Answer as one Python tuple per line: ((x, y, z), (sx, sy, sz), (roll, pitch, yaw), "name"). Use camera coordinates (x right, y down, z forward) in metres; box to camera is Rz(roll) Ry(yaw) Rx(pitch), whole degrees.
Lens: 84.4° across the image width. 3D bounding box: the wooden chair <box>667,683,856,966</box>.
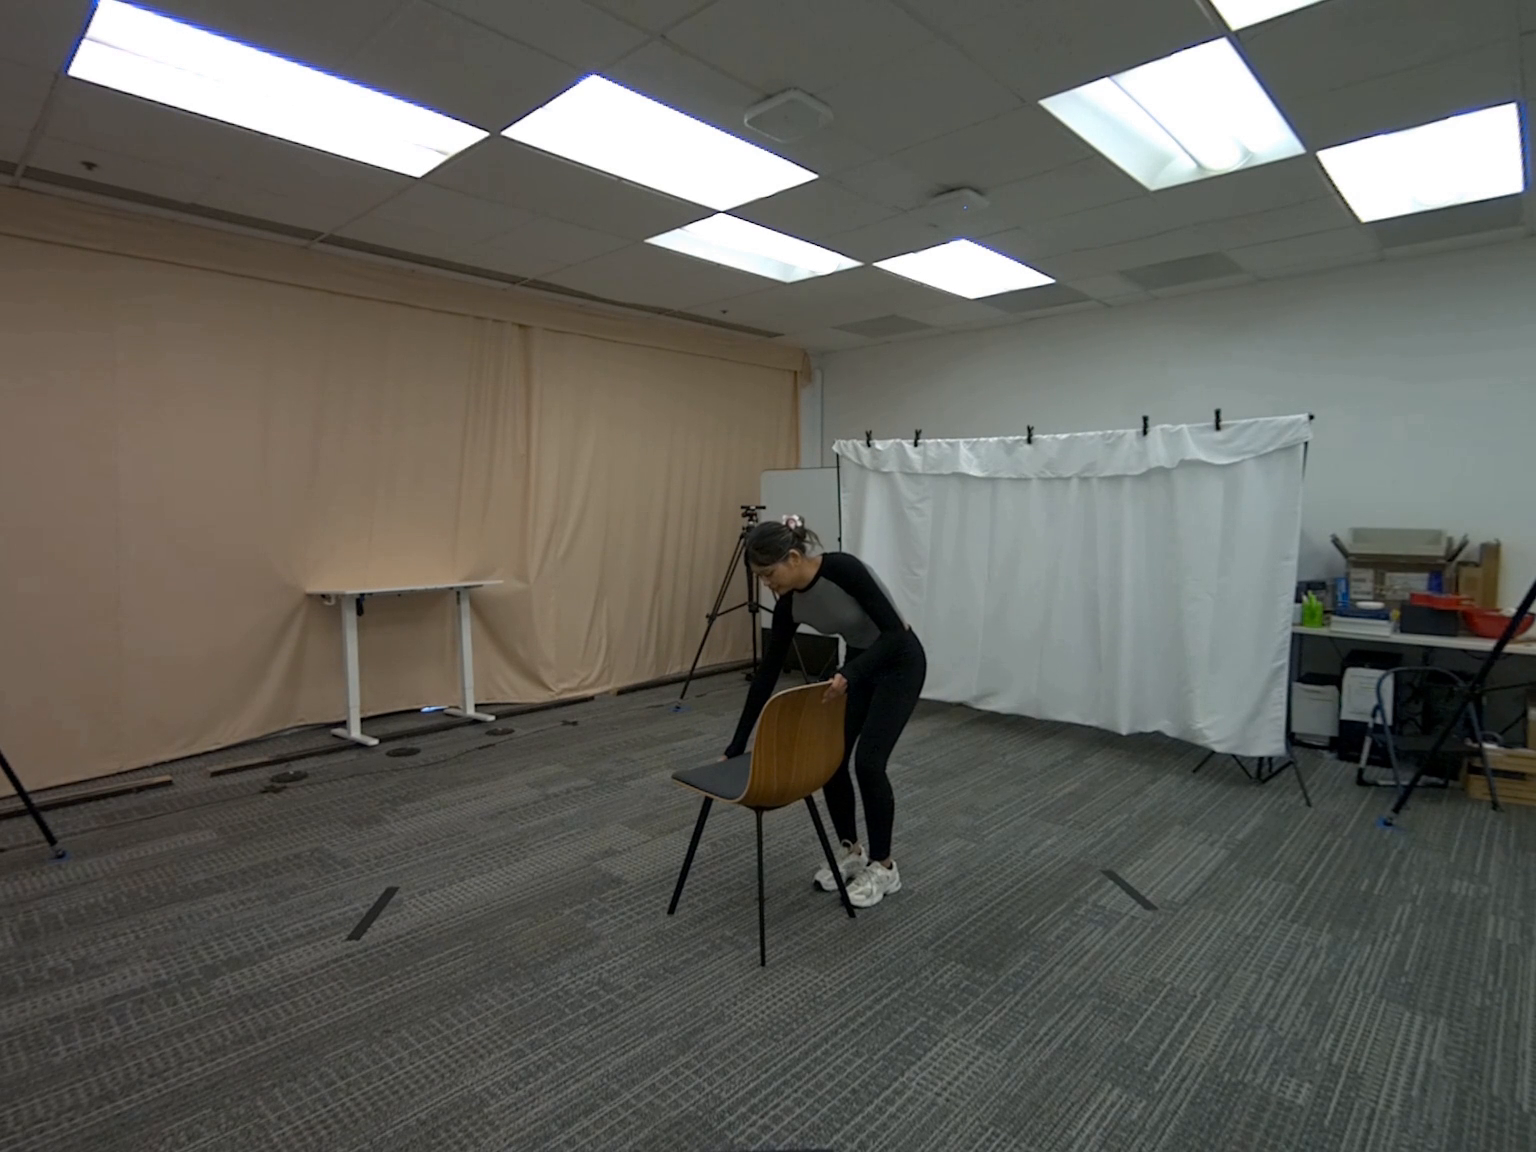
((-0.031, 0.727, 2.833), (0.463, 0.874, 0.541), (-3, 9, -45), "wooden chair")
